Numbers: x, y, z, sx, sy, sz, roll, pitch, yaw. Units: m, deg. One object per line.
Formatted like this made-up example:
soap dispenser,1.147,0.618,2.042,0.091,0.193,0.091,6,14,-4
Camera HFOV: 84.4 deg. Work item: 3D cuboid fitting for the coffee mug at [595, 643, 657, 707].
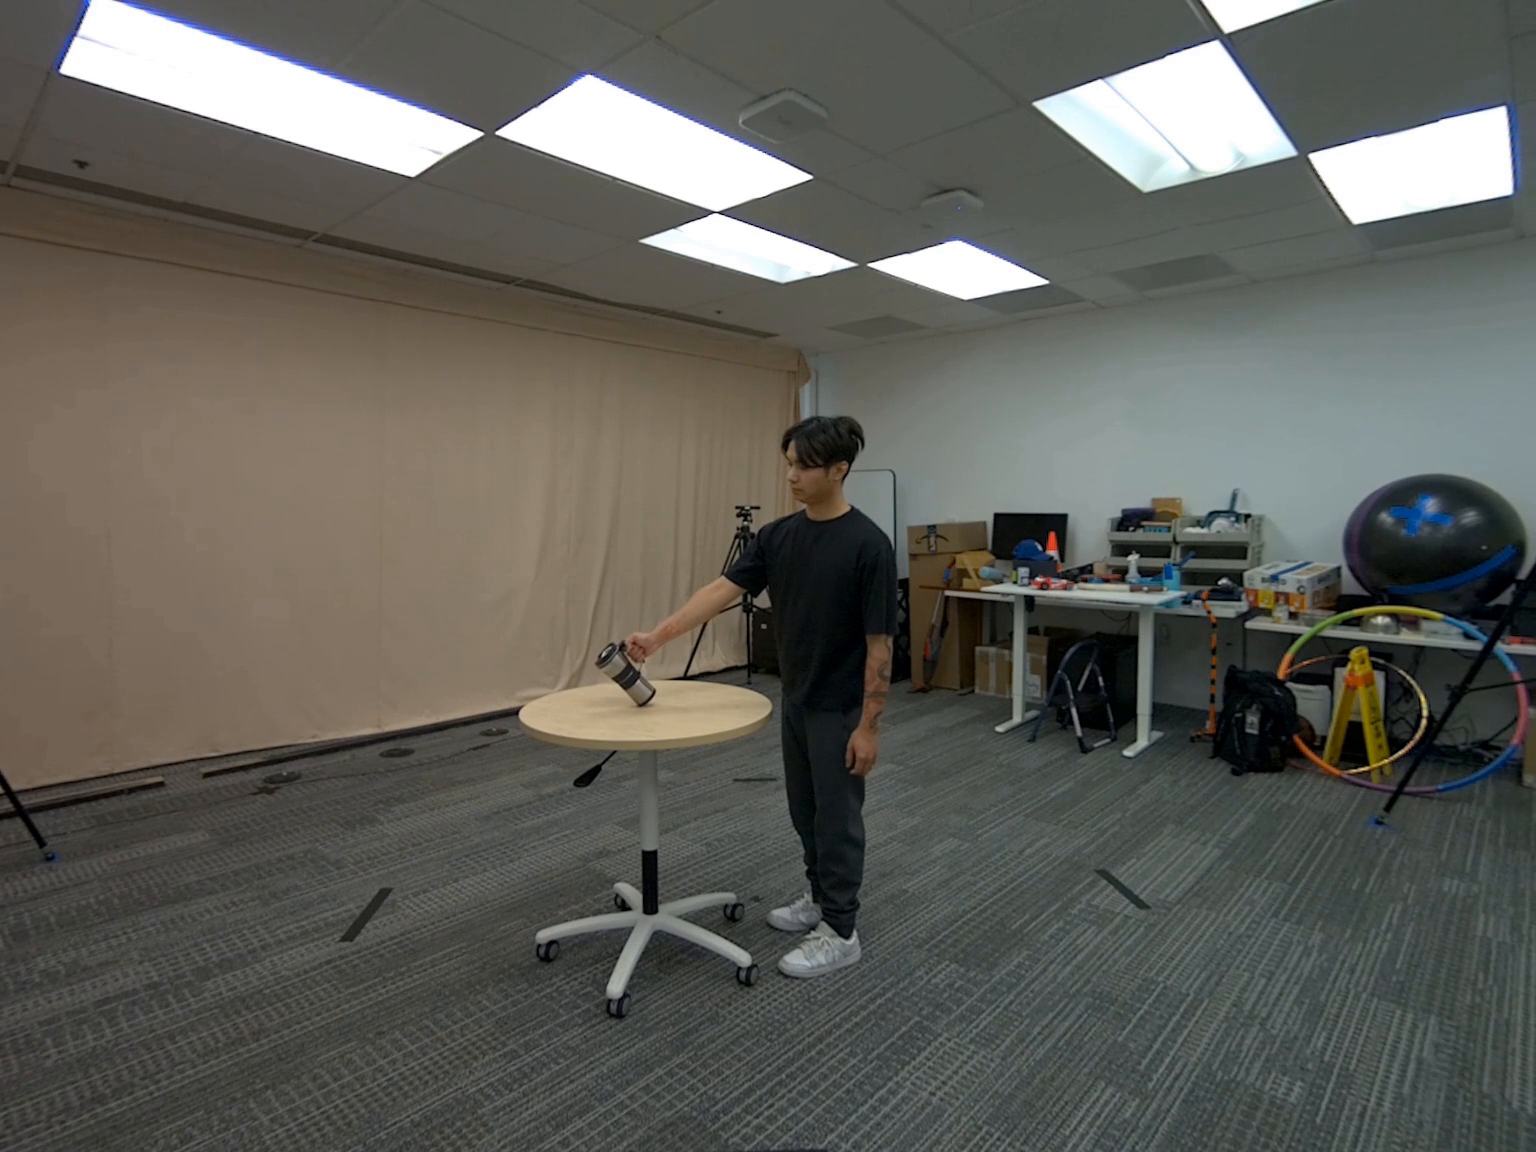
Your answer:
coffee mug,-0.415,0.298,2.542,0.124,0.201,0.087,-31,12,40
